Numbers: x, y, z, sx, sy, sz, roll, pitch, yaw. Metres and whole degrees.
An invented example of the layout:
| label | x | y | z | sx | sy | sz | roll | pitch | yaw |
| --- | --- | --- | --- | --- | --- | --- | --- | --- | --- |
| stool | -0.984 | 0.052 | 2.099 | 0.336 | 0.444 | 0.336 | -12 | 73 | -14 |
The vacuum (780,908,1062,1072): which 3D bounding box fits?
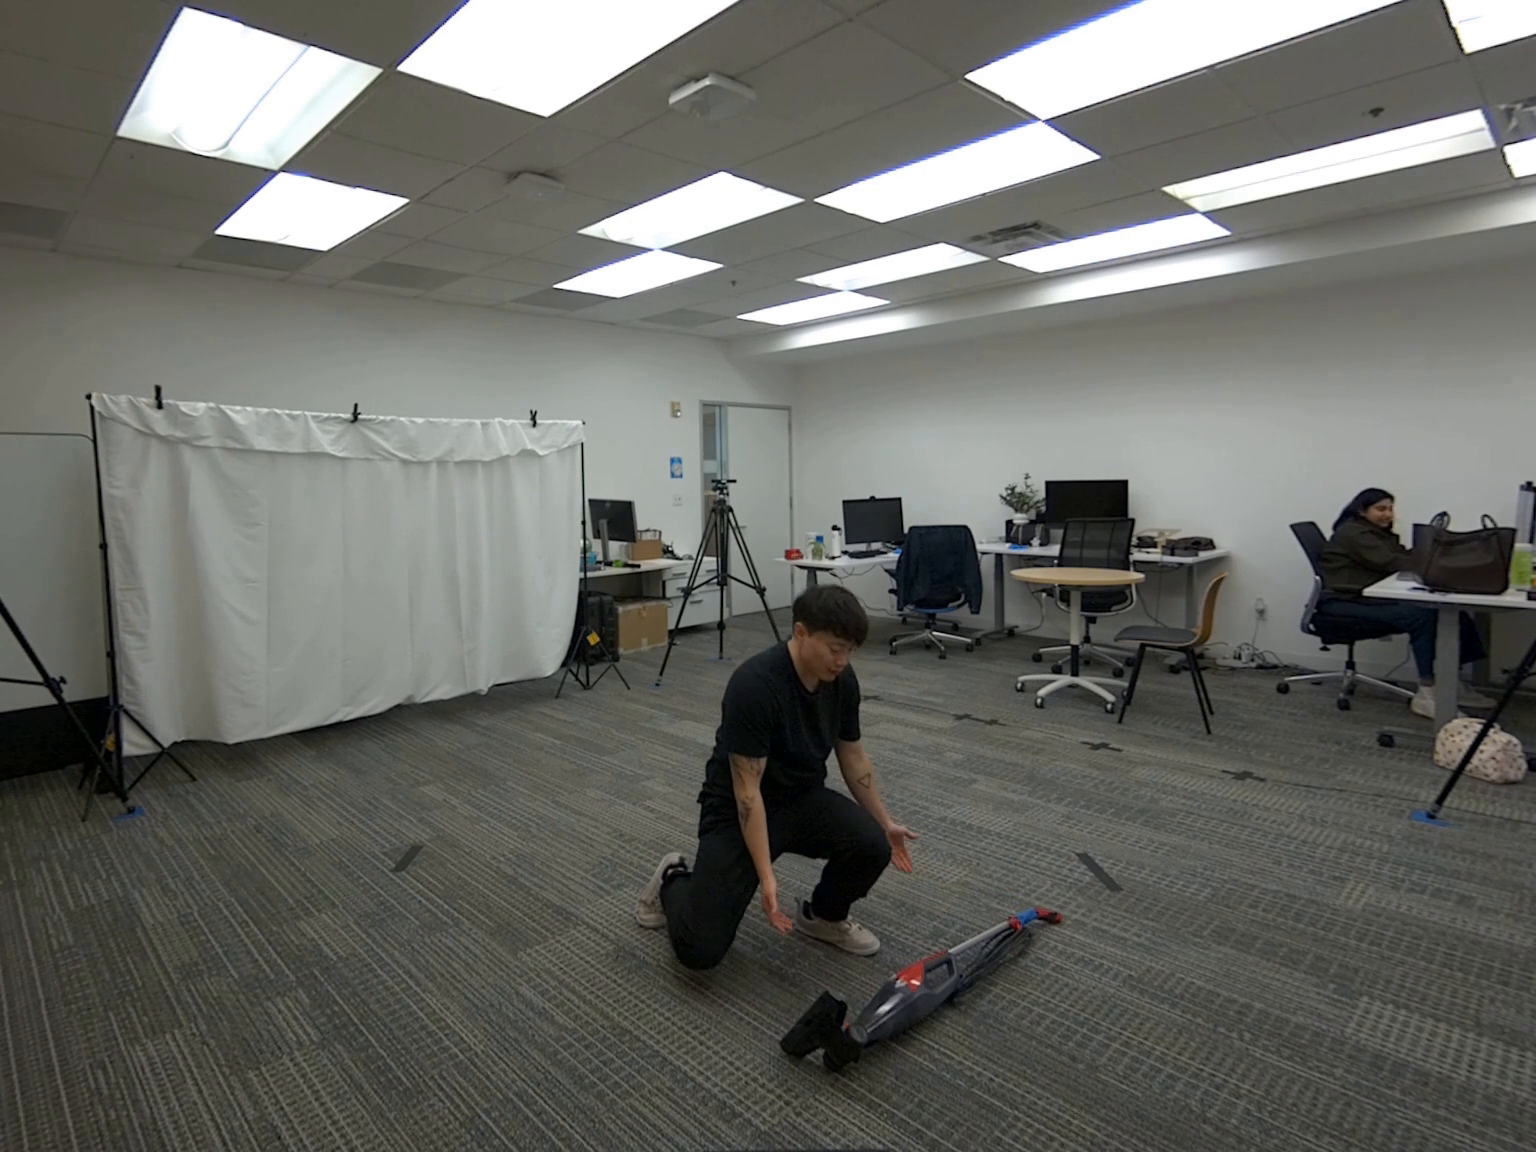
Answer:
| label | x | y | z | sx | sy | sz | roll | pitch | yaw |
| --- | --- | --- | --- | --- | --- | --- | --- | --- | --- |
| vacuum | 0.522 | 1.073 | 2.328 | 1.020 | 0.250 | 0.149 | -1 | 40 | -40 |
